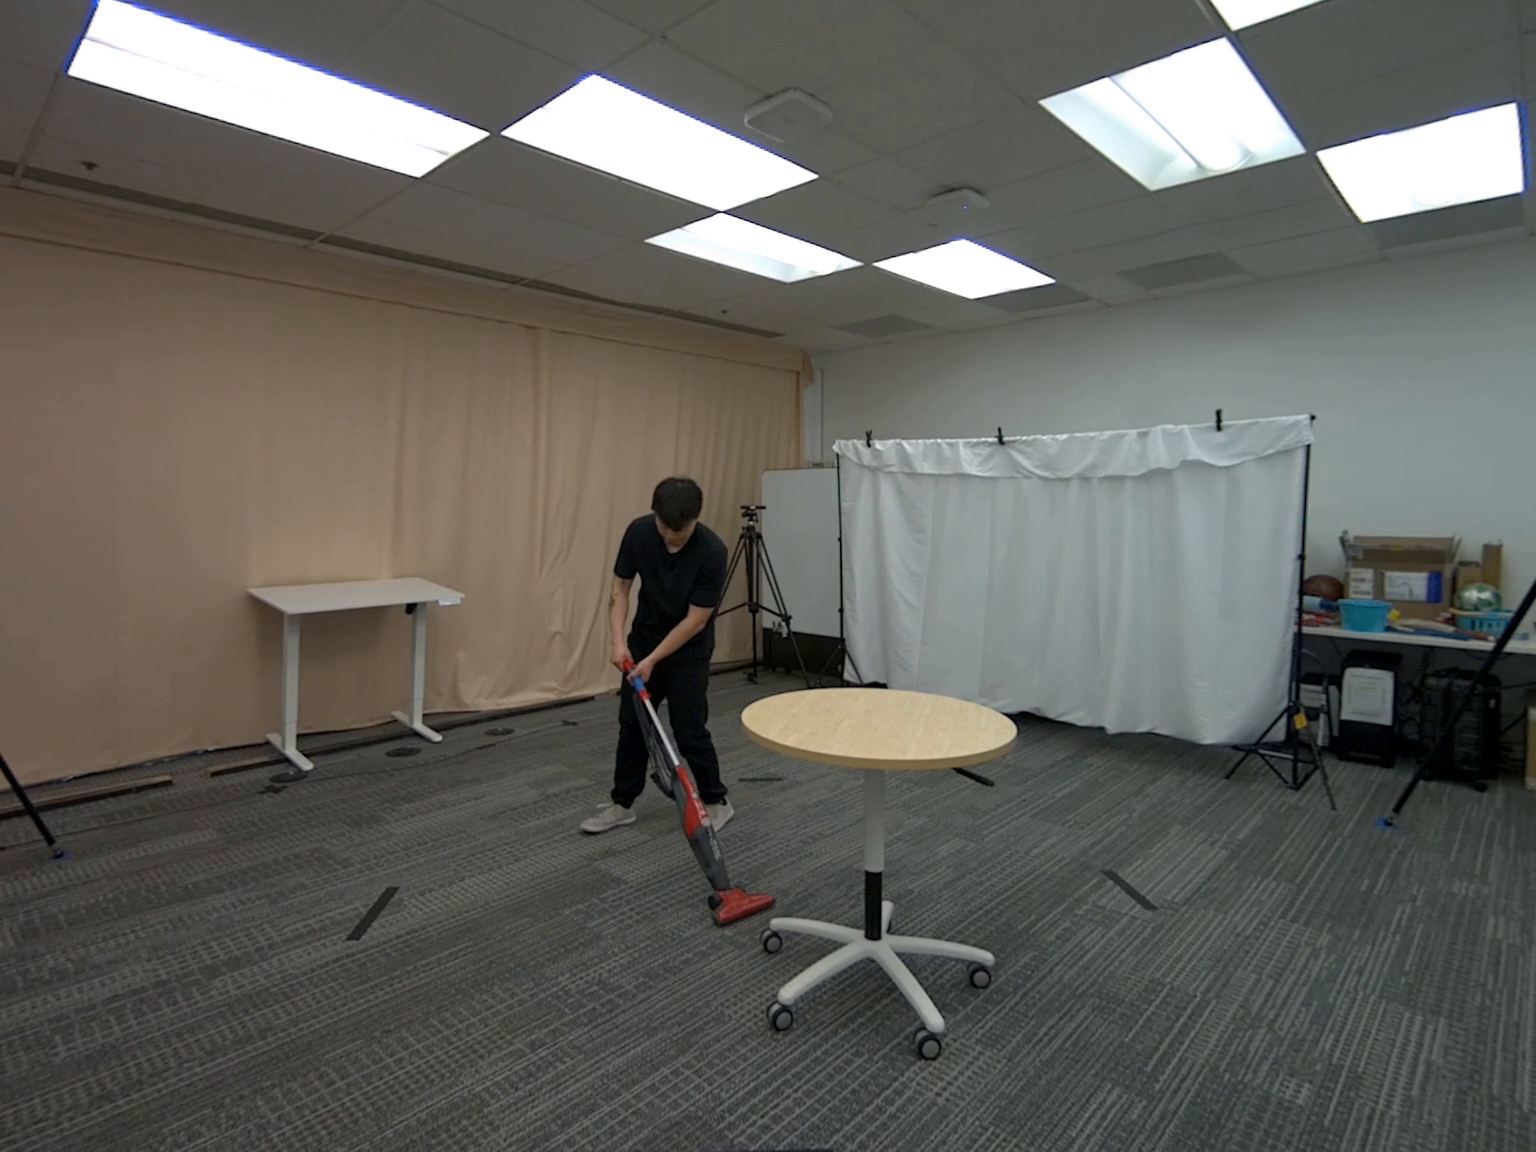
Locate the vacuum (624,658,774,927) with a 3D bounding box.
[{"bbox_3d":[-0.352,0.749,3.158,0.245,0.144,1.080,-4,49,-40],"label":"vacuum"}]
